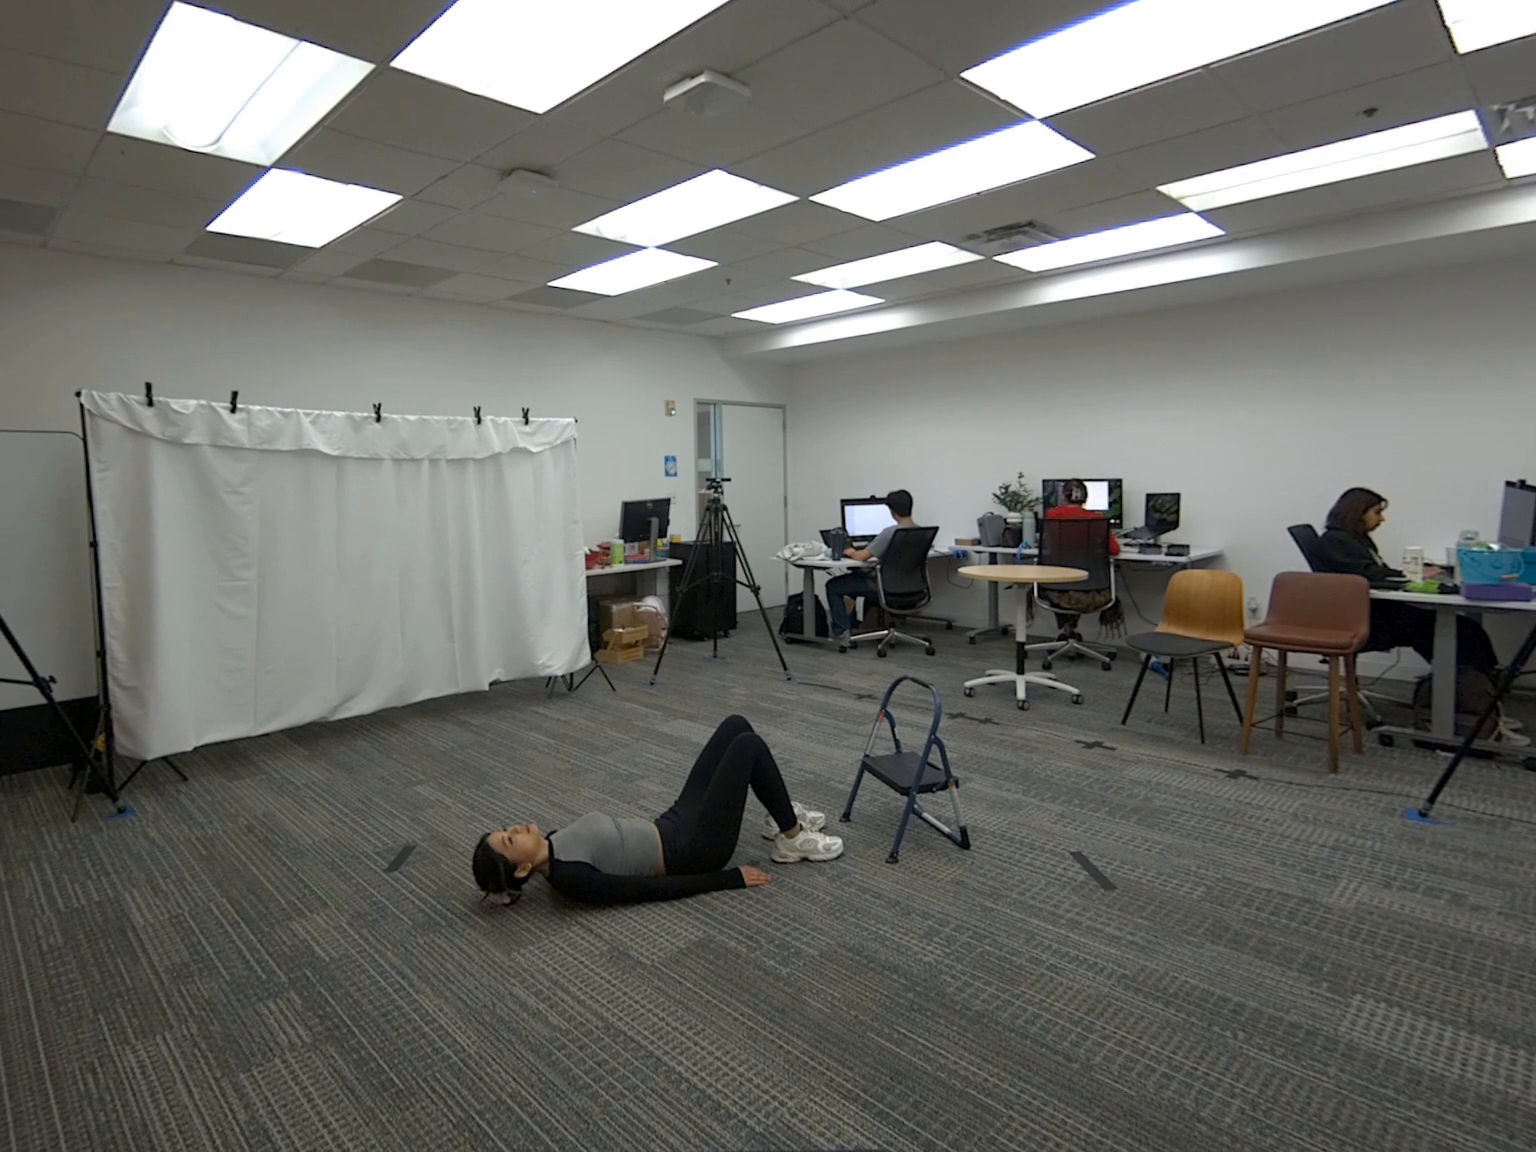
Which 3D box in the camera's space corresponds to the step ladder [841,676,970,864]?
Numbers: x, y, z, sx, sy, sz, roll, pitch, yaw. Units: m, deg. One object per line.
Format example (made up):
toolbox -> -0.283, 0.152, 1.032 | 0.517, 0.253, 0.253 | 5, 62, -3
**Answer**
step ladder -> 0.522, 0.708, 3.315 | 0.343, 0.604, 0.439 | -3, 4, -19
